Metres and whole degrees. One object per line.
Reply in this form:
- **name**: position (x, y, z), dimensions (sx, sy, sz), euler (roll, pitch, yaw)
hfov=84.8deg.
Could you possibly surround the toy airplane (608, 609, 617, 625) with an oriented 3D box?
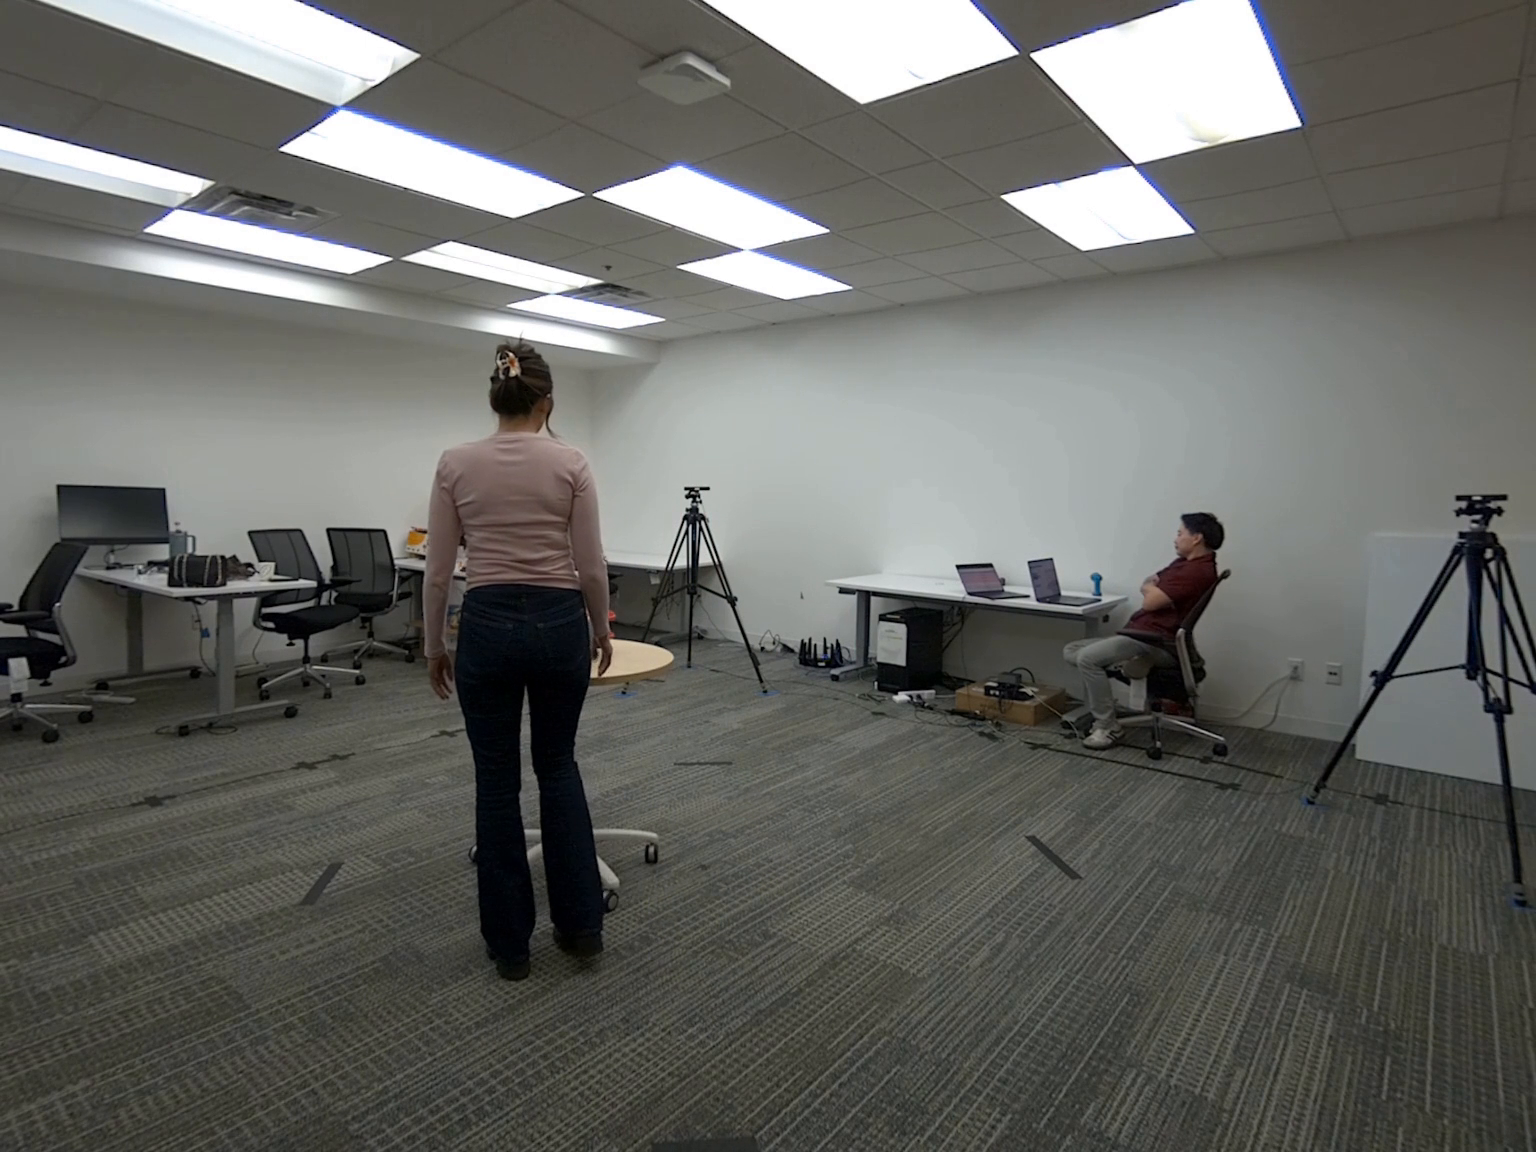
- **toy airplane**: position (-0.659, 0.204, 3.068), dimensions (0.268, 0.156, 0.244), euler (4, 6, 39)
